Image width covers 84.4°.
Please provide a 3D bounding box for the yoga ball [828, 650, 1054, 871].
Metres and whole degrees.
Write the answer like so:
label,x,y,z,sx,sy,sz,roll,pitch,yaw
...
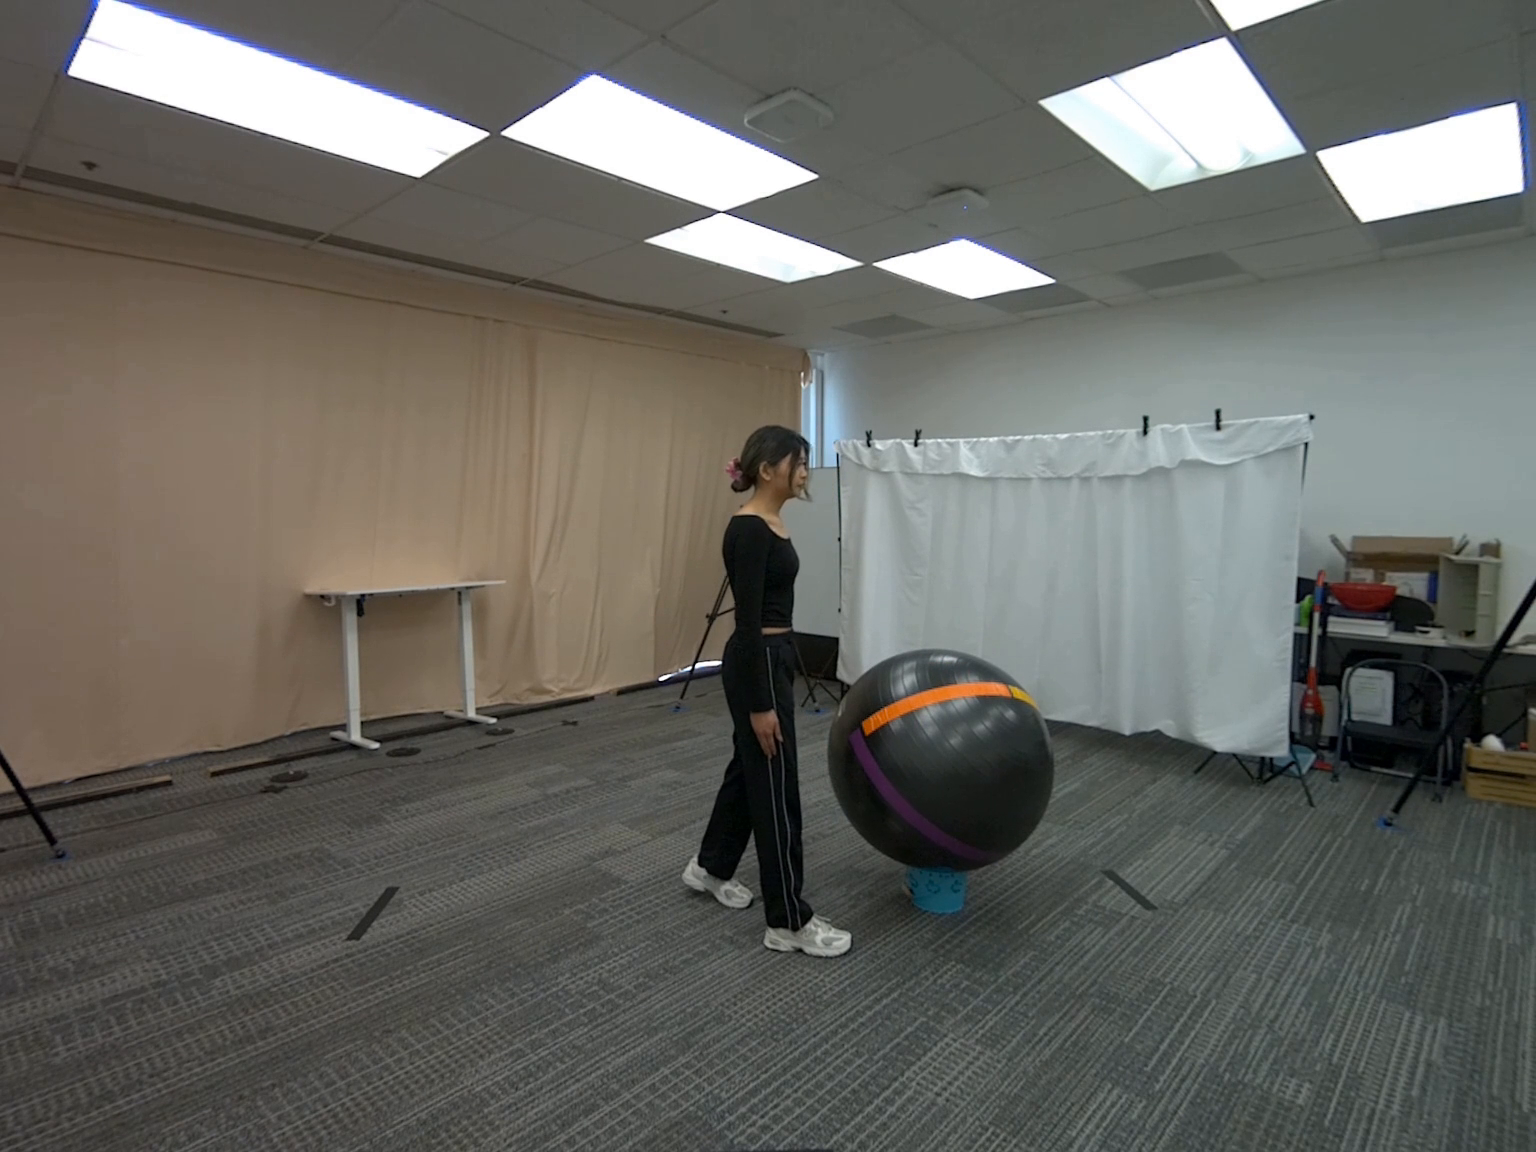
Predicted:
label,x,y,z,sx,sy,sz,roll,pitch,yaw
yoga ball,0.603,0.638,2.940,0.757,0.756,0.760,0,4,-2
